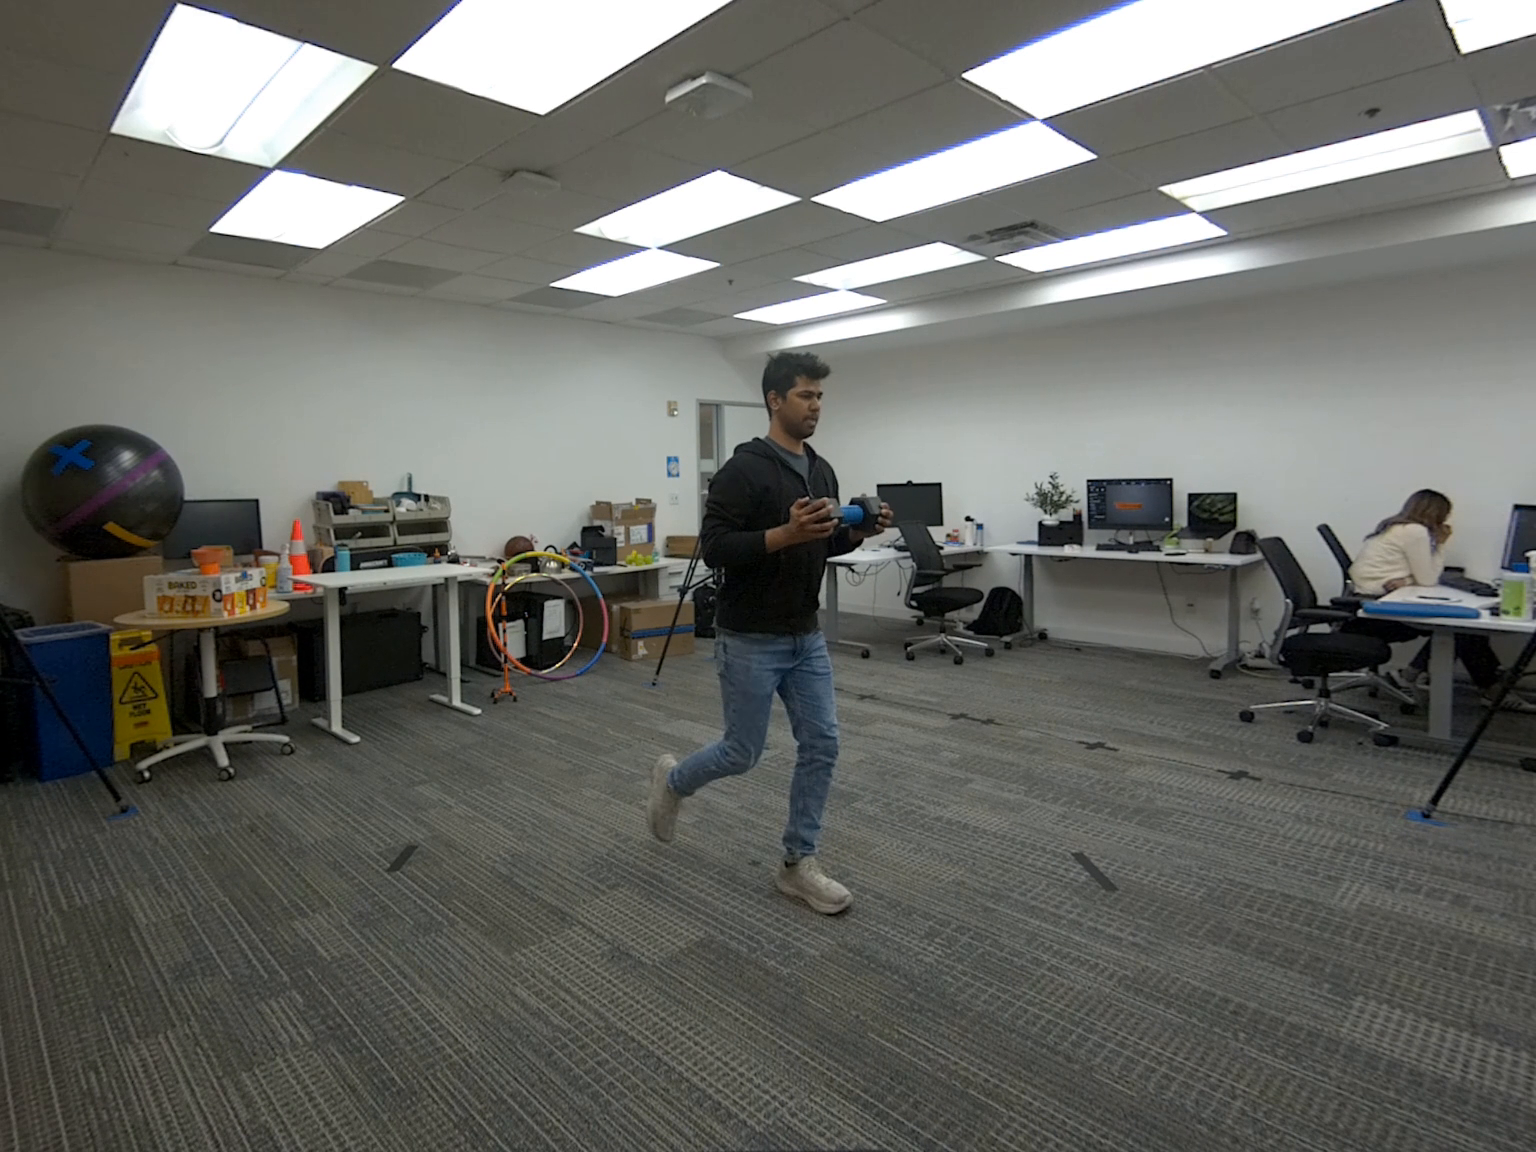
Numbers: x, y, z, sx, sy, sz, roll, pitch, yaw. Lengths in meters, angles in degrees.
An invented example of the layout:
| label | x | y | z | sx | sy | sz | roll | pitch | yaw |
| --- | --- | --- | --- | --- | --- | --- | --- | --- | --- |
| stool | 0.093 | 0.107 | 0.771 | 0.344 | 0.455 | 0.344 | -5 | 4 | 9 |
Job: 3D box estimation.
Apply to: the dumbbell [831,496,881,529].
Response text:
| label | x | y | z | sx | sy | sz | roll | pitch | yaw |
| --- | --- | --- | --- | --- | --- | --- | --- | --- | --- |
| dumbbell | 0.219 | -0.174 | 2.653 | 0.286 | 0.121 | 0.113 | -7 | 35 | -43 |
